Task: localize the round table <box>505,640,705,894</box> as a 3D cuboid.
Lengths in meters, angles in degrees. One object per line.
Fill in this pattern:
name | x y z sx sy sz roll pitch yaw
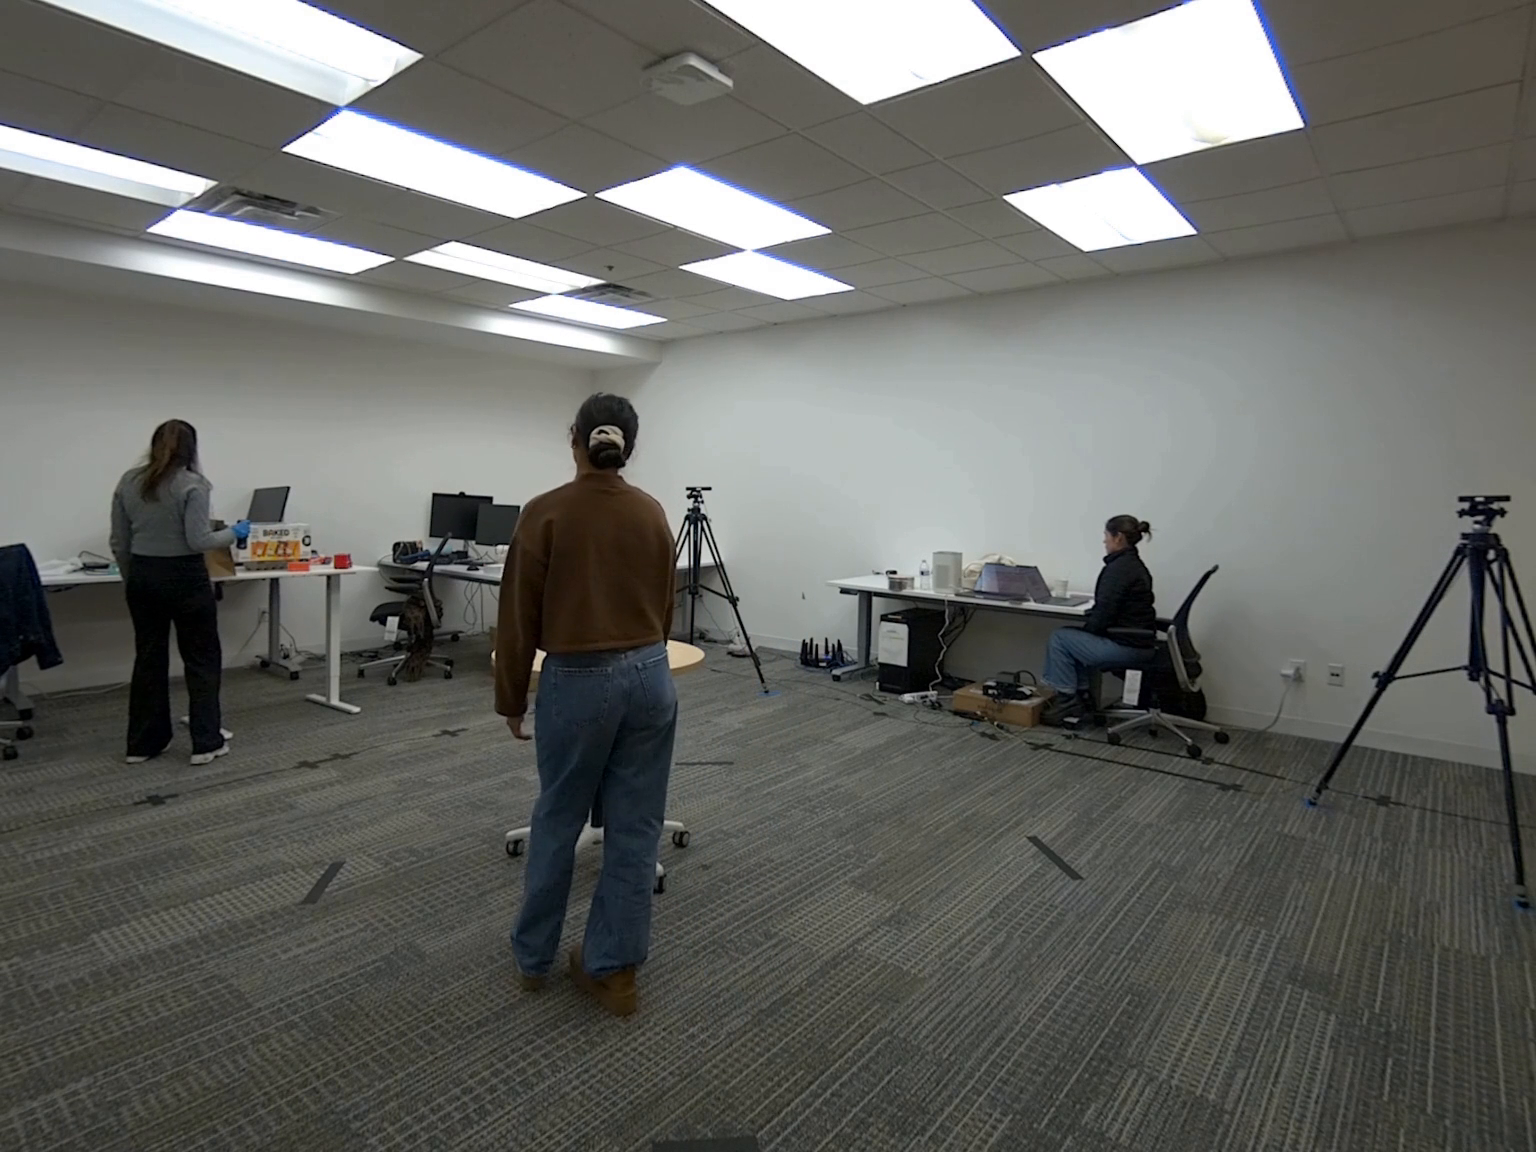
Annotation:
round table | -0.628 0.667 3.119 0.763 0.792 0.767 1 4 -2
